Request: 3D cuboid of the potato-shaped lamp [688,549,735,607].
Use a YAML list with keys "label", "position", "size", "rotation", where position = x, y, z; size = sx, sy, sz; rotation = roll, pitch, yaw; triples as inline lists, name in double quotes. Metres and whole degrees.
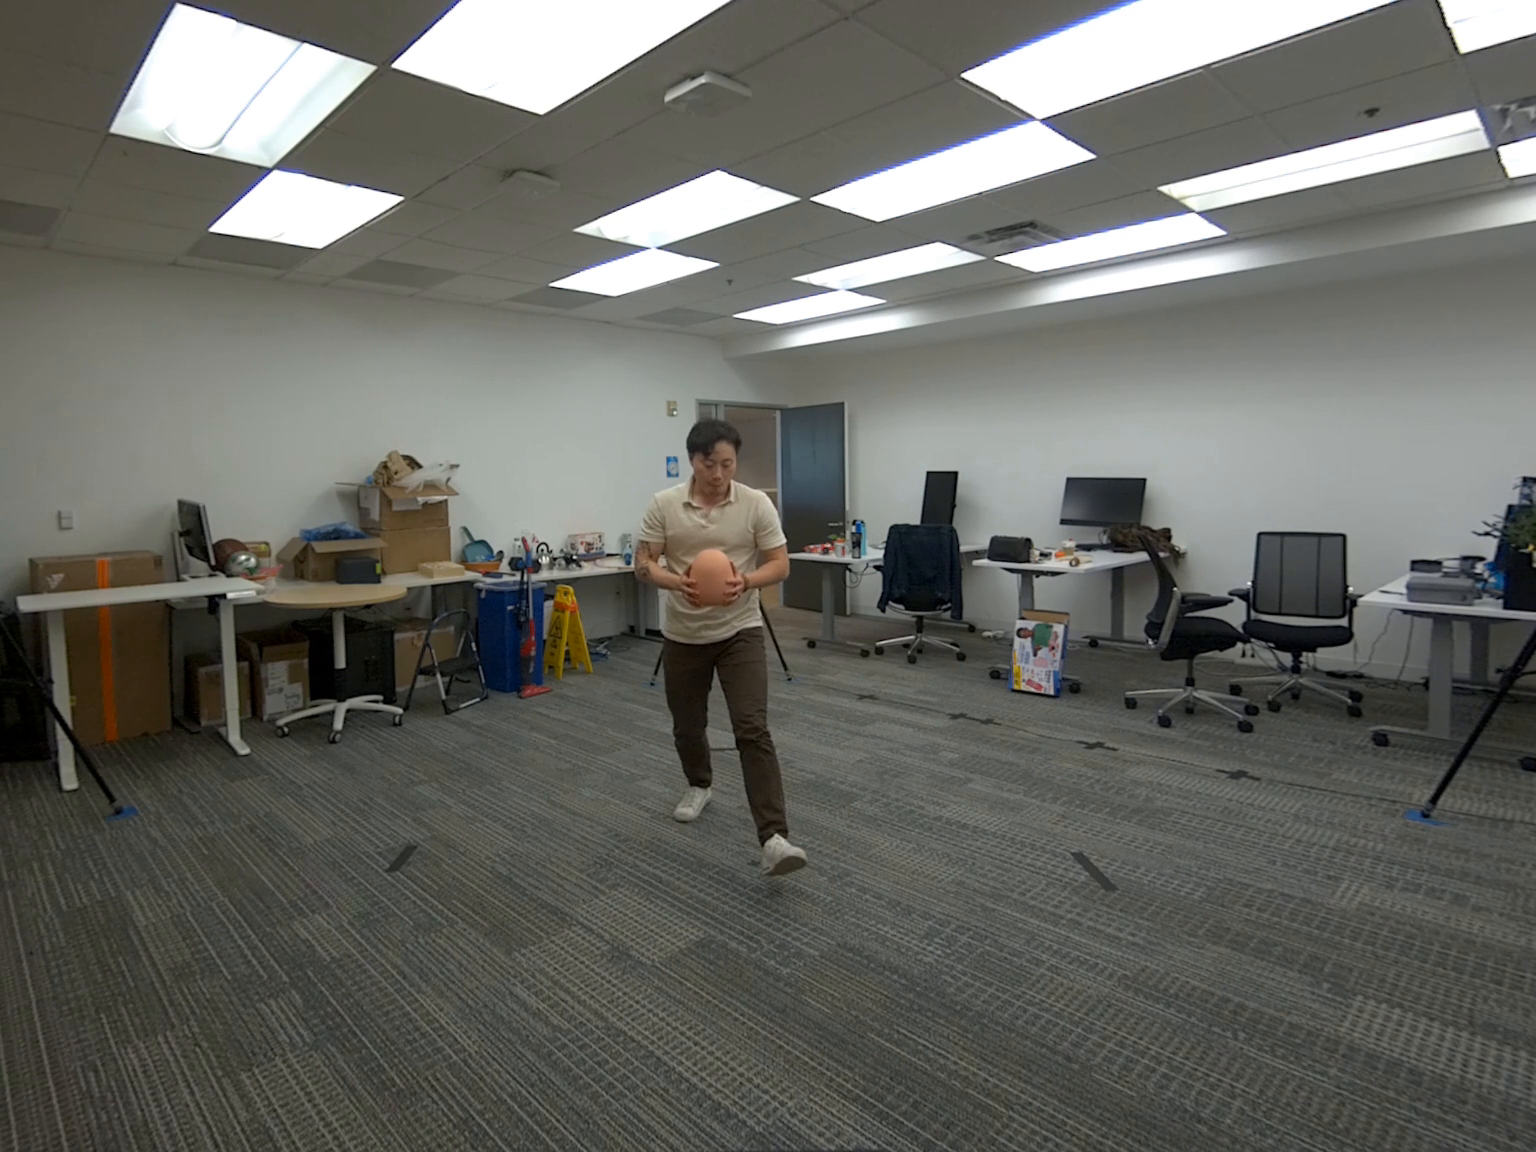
- label: "potato-shaped lamp"
  position: [-0.199, 0.019, 3.001]
  size: [0.166, 0.197, 0.171]
  rotation: [-6, 5, 9]
